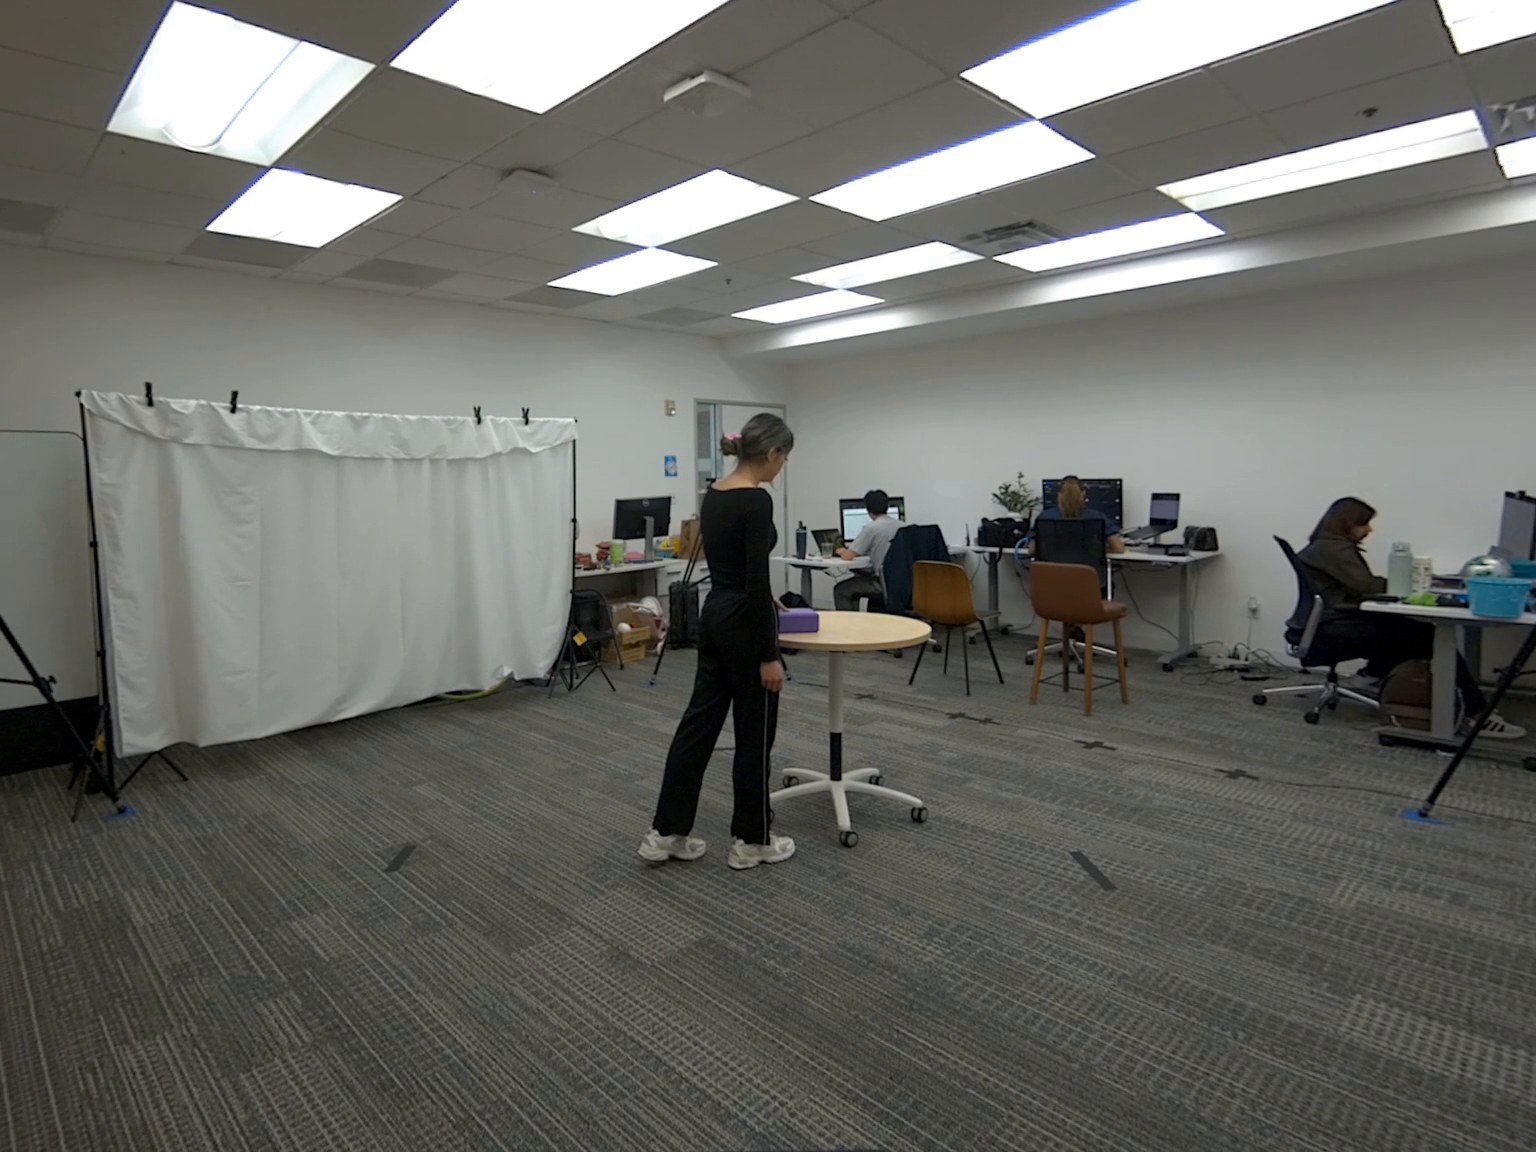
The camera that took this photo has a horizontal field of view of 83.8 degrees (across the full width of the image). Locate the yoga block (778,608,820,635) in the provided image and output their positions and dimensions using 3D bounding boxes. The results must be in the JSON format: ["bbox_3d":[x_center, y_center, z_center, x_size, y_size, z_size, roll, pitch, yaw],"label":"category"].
[{"bbox_3d":[0.084,0.179,3.424,0.228,0.076,0.150,-2,5,-5],"label":"yoga block"}]
